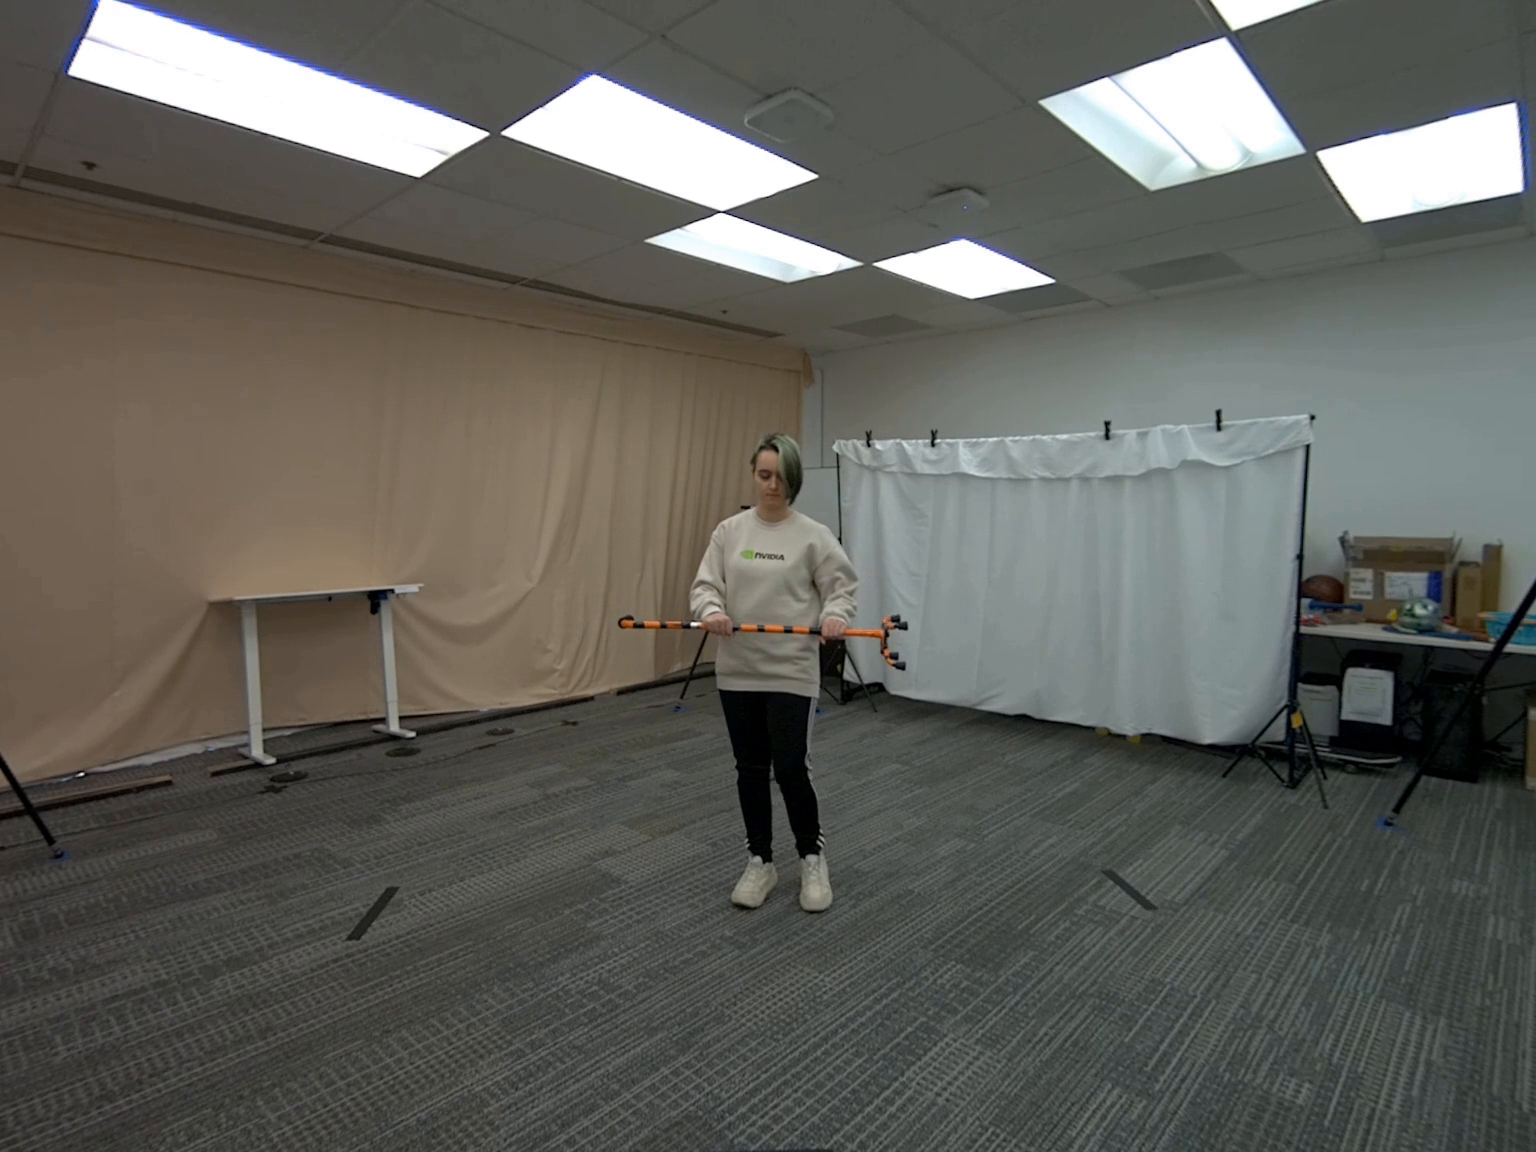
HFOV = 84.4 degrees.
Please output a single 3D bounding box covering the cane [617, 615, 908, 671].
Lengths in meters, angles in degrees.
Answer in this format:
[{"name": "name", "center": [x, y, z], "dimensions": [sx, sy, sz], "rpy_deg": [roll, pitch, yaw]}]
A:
[{"name": "cane", "center": [-0.035, 0.183, 2.692], "dimensions": [0.914, 0.151, 0.205], "rpy_deg": [3, 5, 6]}]
